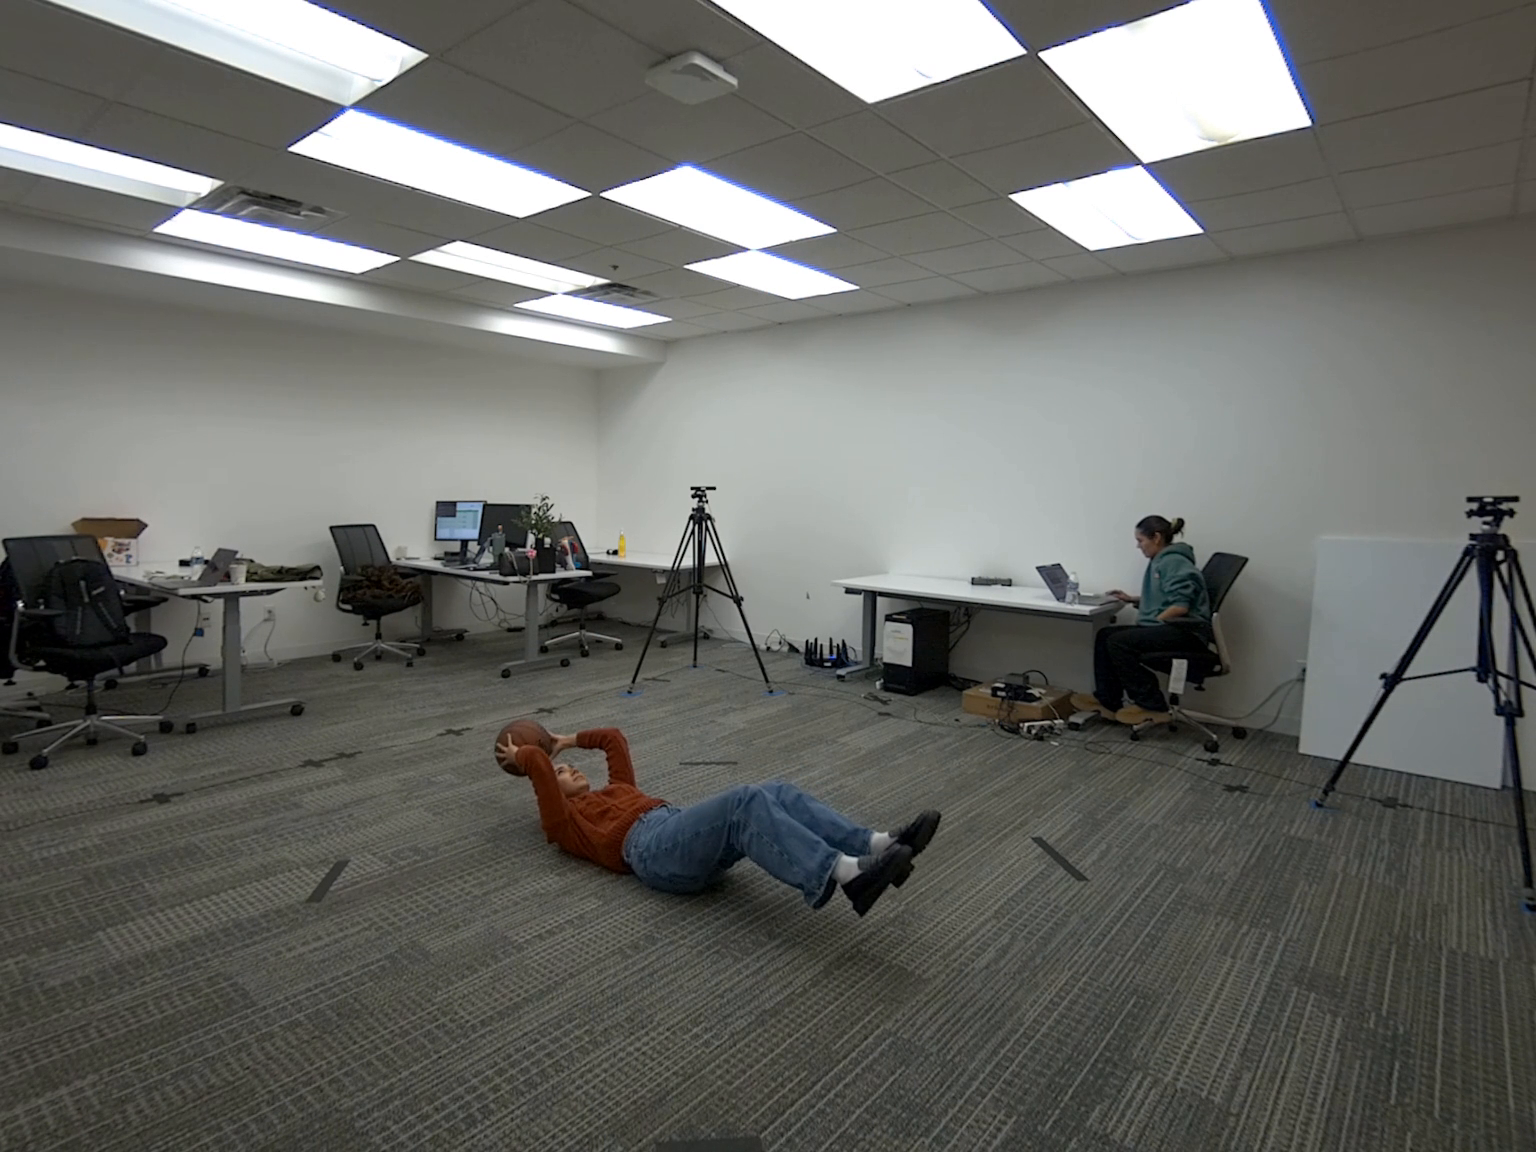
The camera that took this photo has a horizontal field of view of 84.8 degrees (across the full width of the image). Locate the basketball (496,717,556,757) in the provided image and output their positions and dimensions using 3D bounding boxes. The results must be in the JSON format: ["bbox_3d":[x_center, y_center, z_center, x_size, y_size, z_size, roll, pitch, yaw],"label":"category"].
[{"bbox_3d":[-1.055,0.722,3.605,0.236,0.235,0.237,-3,3,-2],"label":"basketball"}]
